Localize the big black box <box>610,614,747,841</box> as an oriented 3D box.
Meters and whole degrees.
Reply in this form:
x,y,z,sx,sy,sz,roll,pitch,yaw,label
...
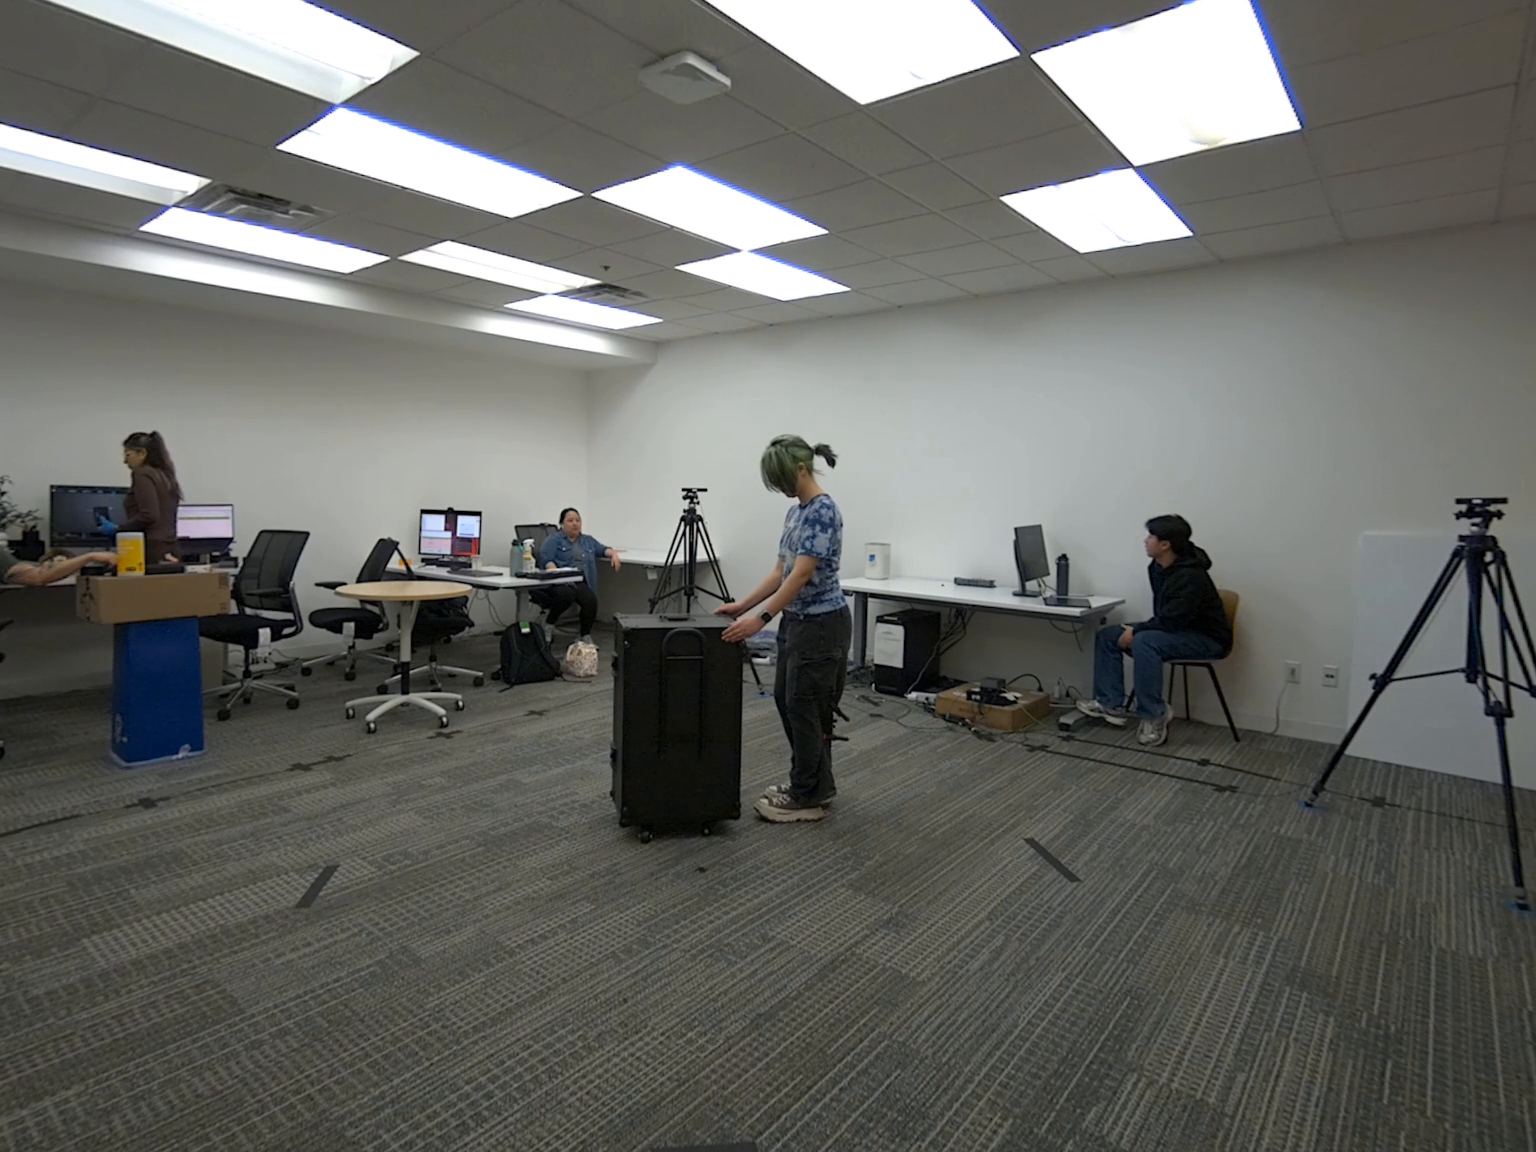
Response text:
x,y,z,sx,sy,sz,roll,pitch,yaw,label
-0.389,0.608,3.499,0.513,0.858,0.404,1,4,-15,big black box
